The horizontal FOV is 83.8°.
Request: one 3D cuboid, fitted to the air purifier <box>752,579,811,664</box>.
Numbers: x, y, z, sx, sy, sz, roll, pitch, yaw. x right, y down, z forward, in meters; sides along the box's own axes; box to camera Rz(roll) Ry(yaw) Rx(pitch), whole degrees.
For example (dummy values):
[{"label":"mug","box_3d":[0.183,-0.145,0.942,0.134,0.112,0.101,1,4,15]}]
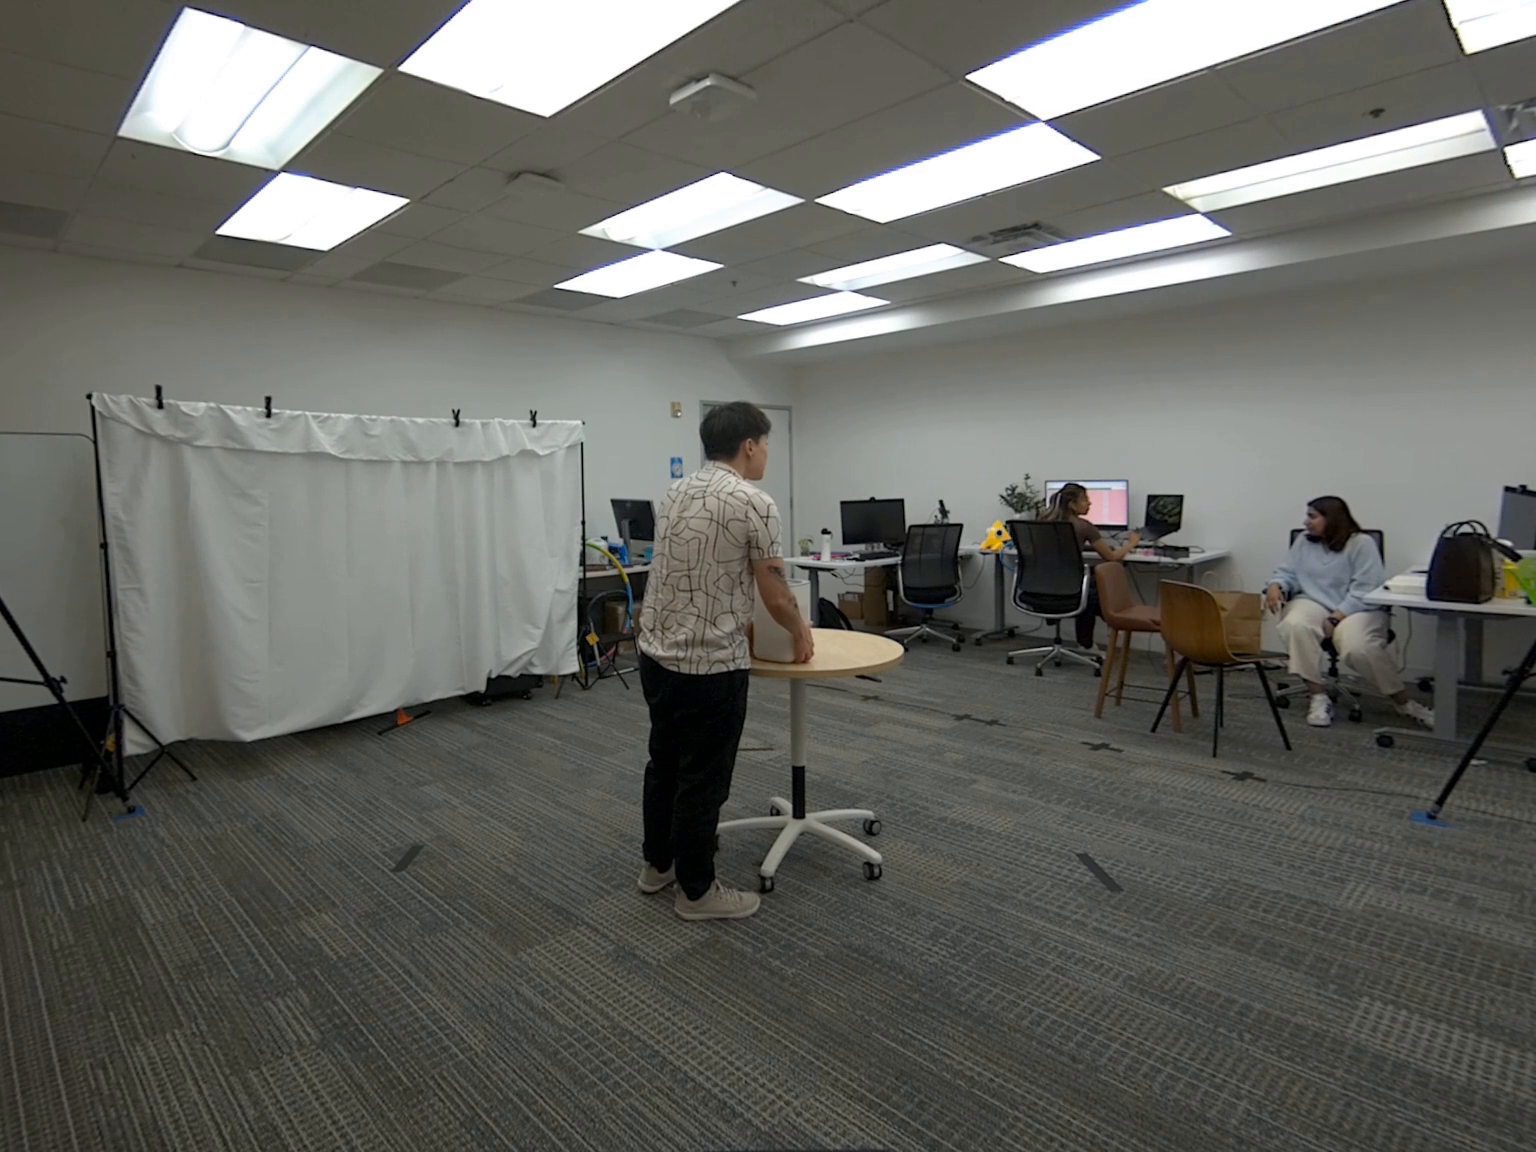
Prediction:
[{"label":"air purifier","box_3d":[0.056,0.152,2.935,0.176,0.264,0.167,2,4,33]}]
